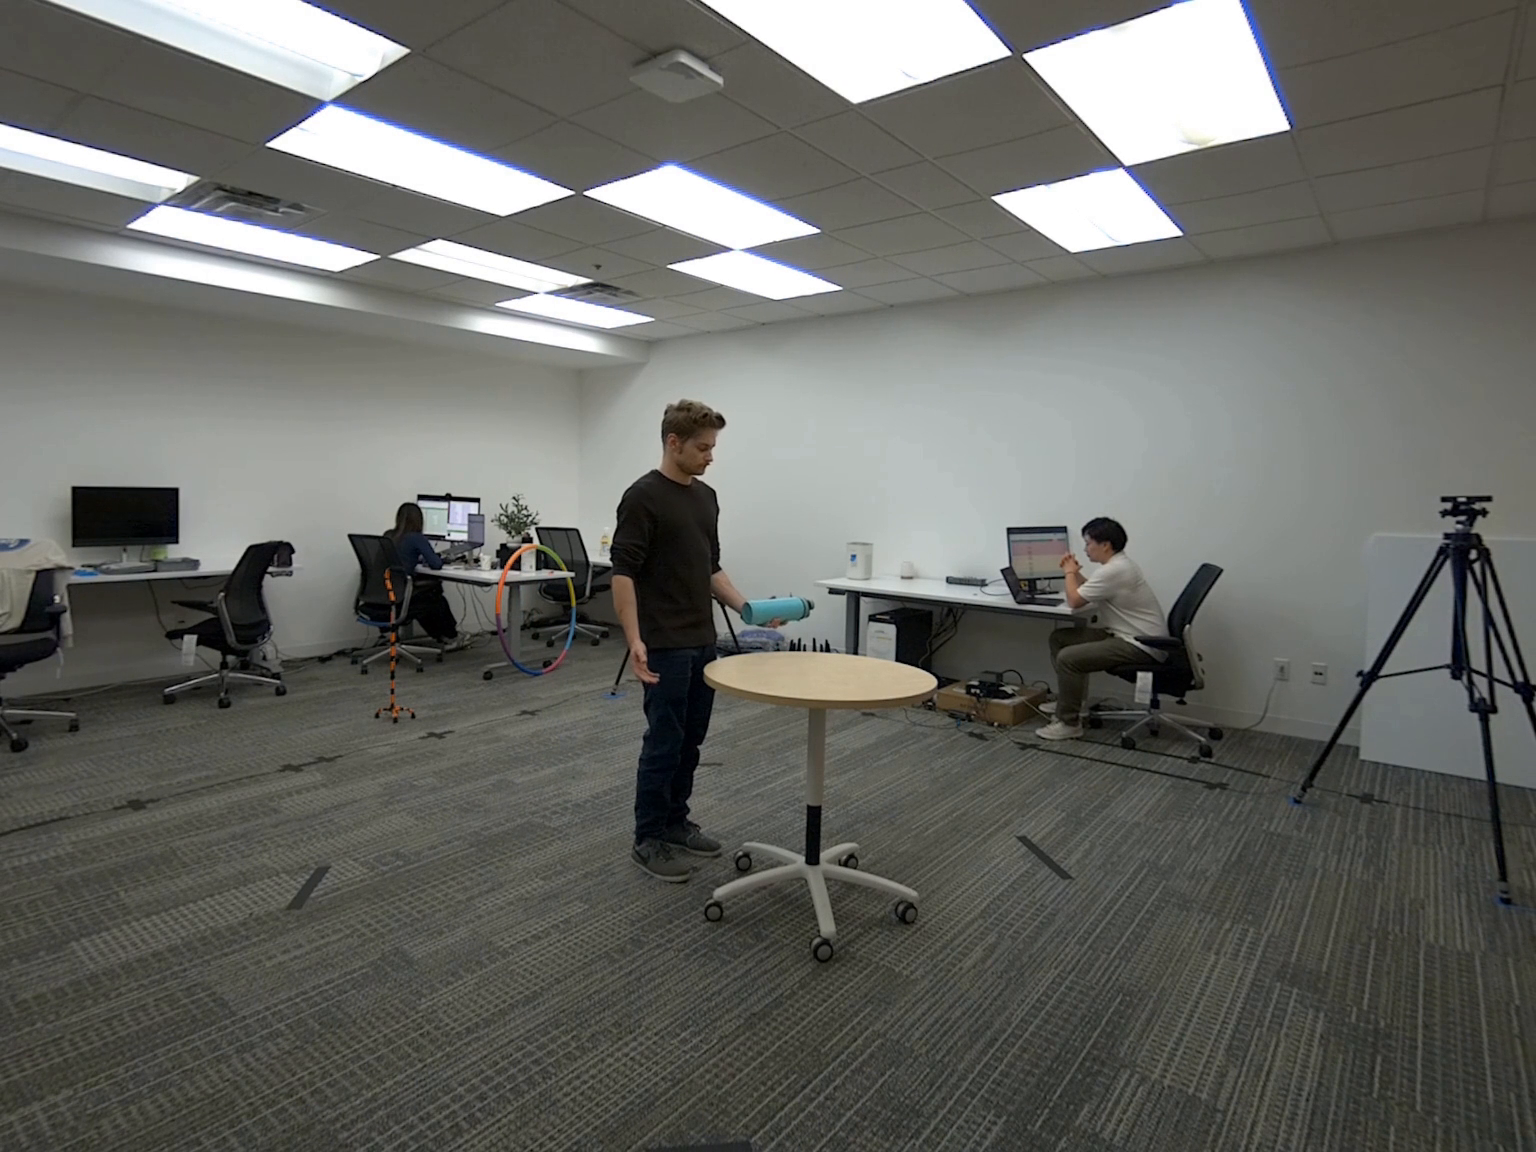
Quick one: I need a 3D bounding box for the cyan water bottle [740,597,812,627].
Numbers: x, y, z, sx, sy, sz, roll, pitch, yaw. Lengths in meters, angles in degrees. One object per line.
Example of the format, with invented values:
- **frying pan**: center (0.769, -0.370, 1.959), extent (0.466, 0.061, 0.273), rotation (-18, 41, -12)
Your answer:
- **cyan water bottle**: center (0.037, 0.122, 3.215), extent (0.276, 0.092, 0.095), rotation (-4, 6, -28)
